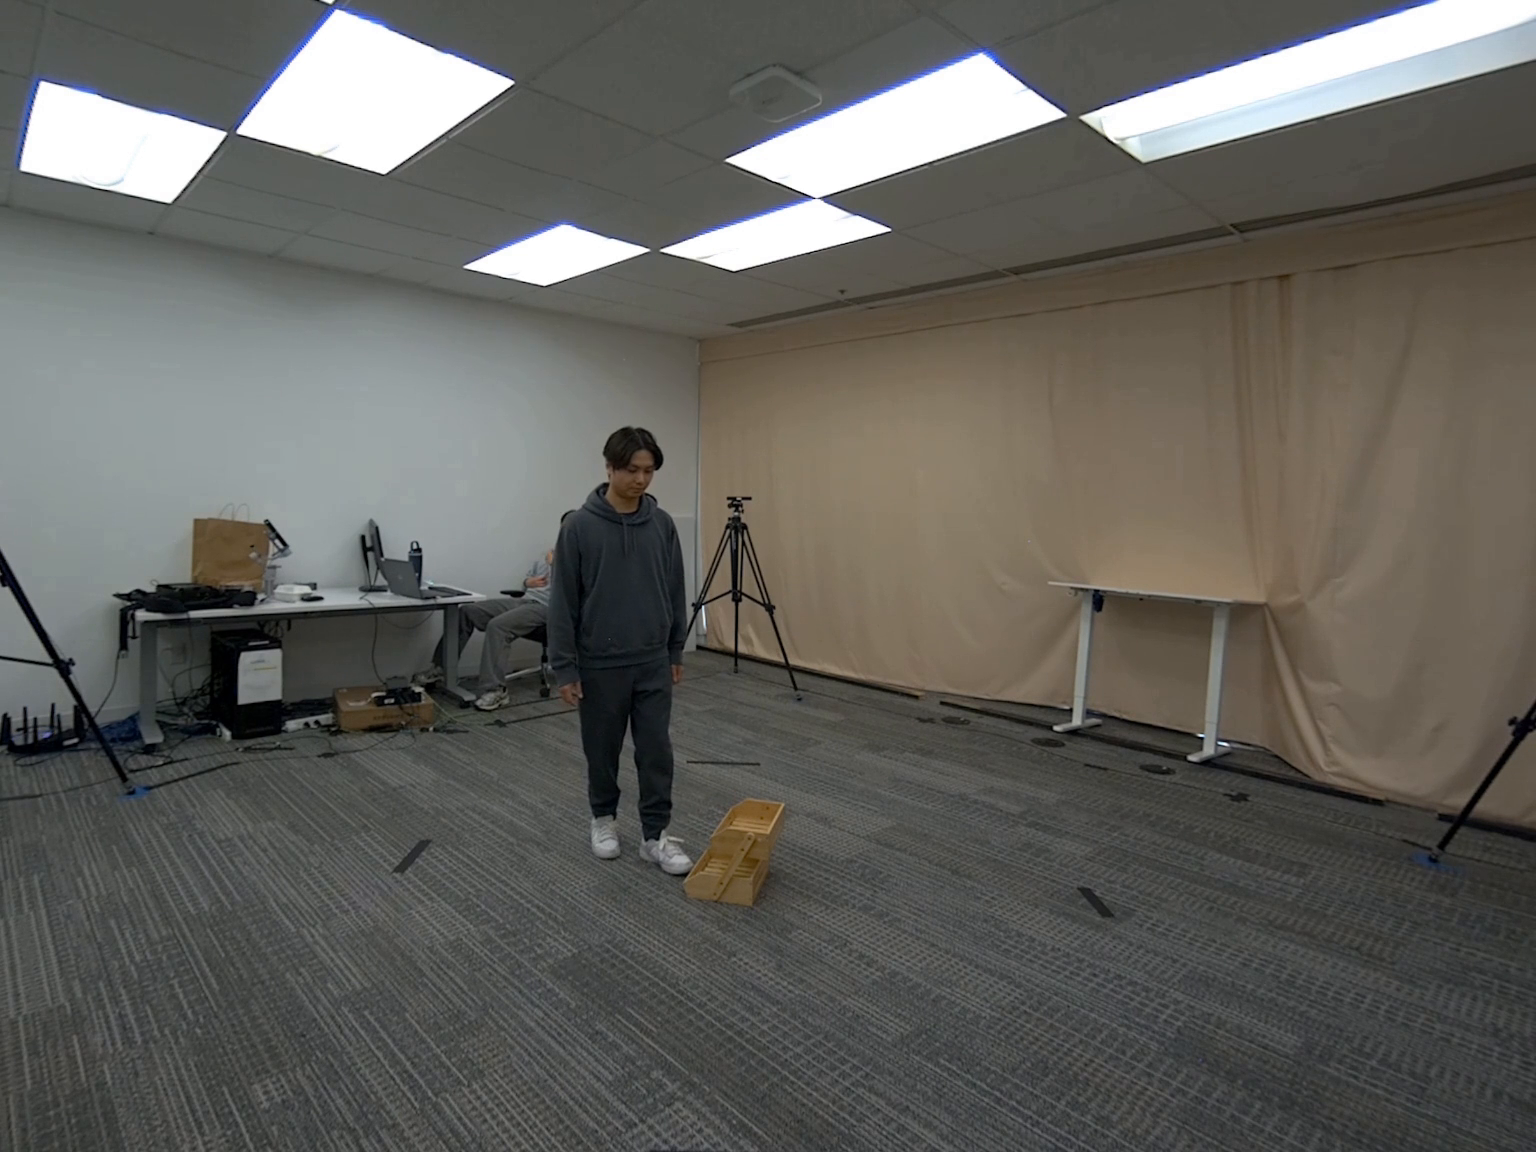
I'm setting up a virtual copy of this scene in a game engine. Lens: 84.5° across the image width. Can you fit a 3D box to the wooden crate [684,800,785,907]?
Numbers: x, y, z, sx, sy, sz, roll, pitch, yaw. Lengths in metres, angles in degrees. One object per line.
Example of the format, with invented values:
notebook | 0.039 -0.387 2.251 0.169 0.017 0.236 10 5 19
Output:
wooden crate | -0.130 0.982 3.034 0.305 0.272 0.322 3 4 12
